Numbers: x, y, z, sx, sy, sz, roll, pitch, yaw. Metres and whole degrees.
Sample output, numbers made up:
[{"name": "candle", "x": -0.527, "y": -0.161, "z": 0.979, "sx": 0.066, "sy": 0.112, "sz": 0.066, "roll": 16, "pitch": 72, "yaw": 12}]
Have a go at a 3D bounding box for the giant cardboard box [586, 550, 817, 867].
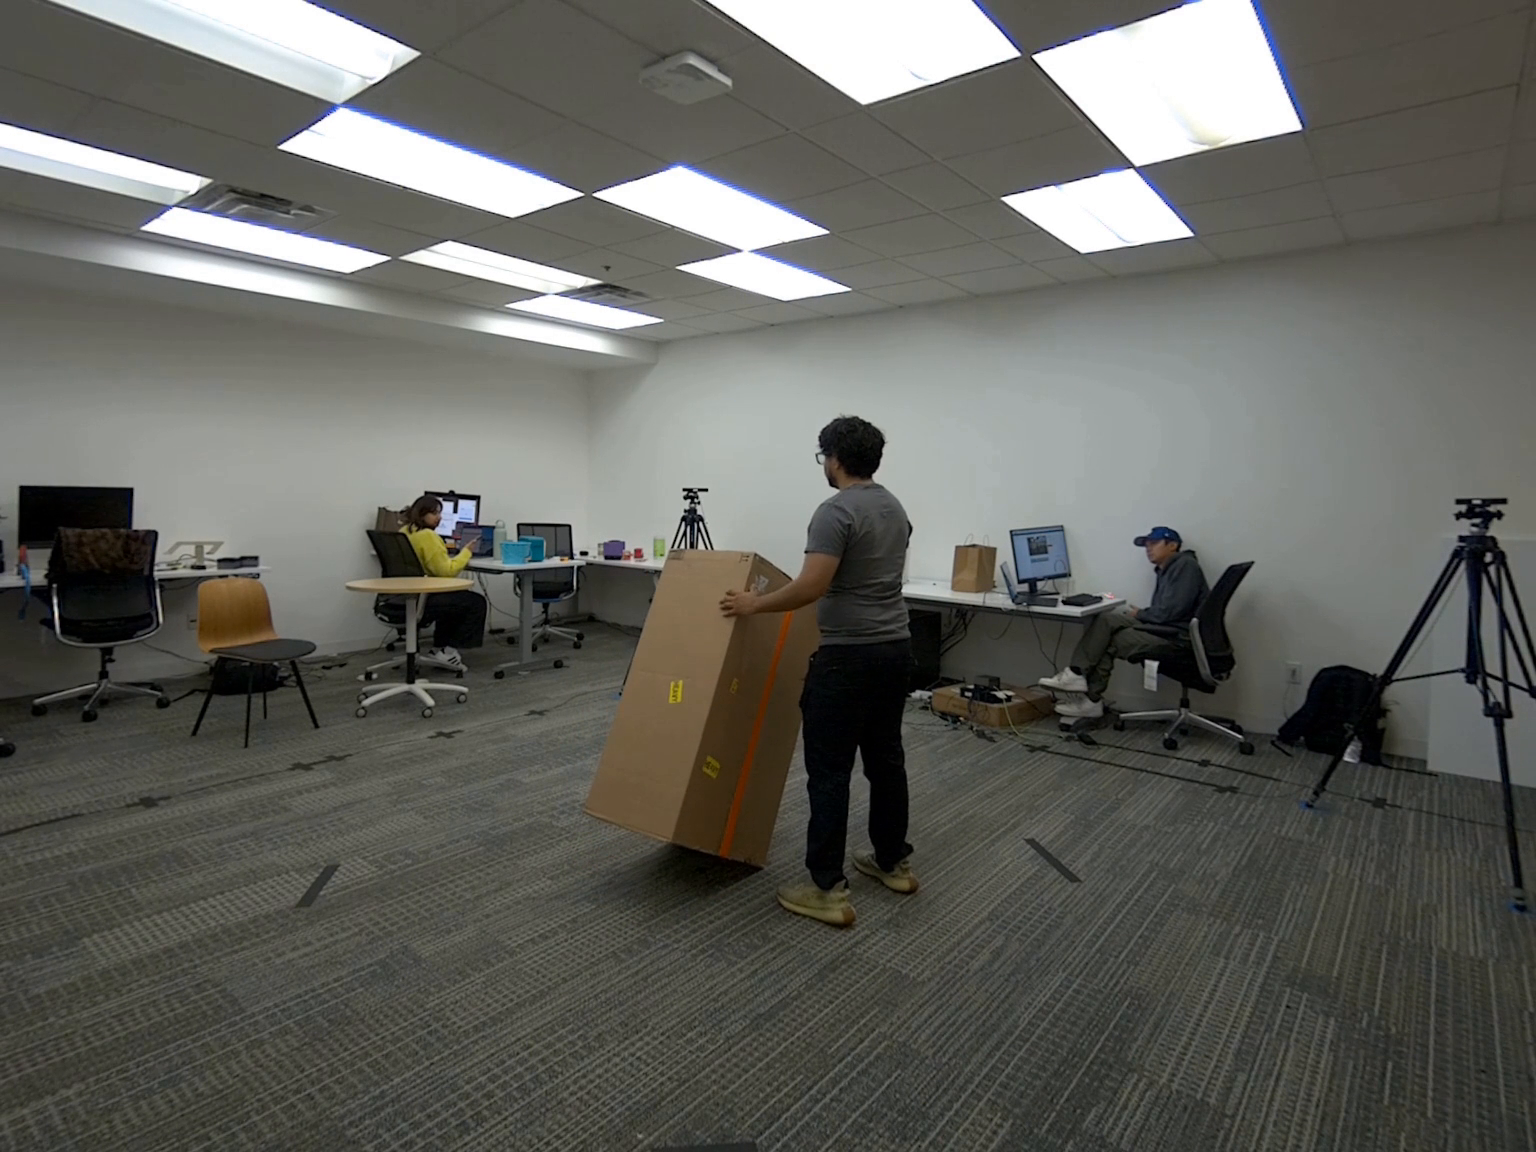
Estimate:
[{"name": "giant cardboard box", "x": -0.205, "y": 0.482, "z": 3.215, "sx": 0.440, "sy": 1.037, "sz": 0.553, "roll": 2, "pitch": -22, "yaw": 38}]
